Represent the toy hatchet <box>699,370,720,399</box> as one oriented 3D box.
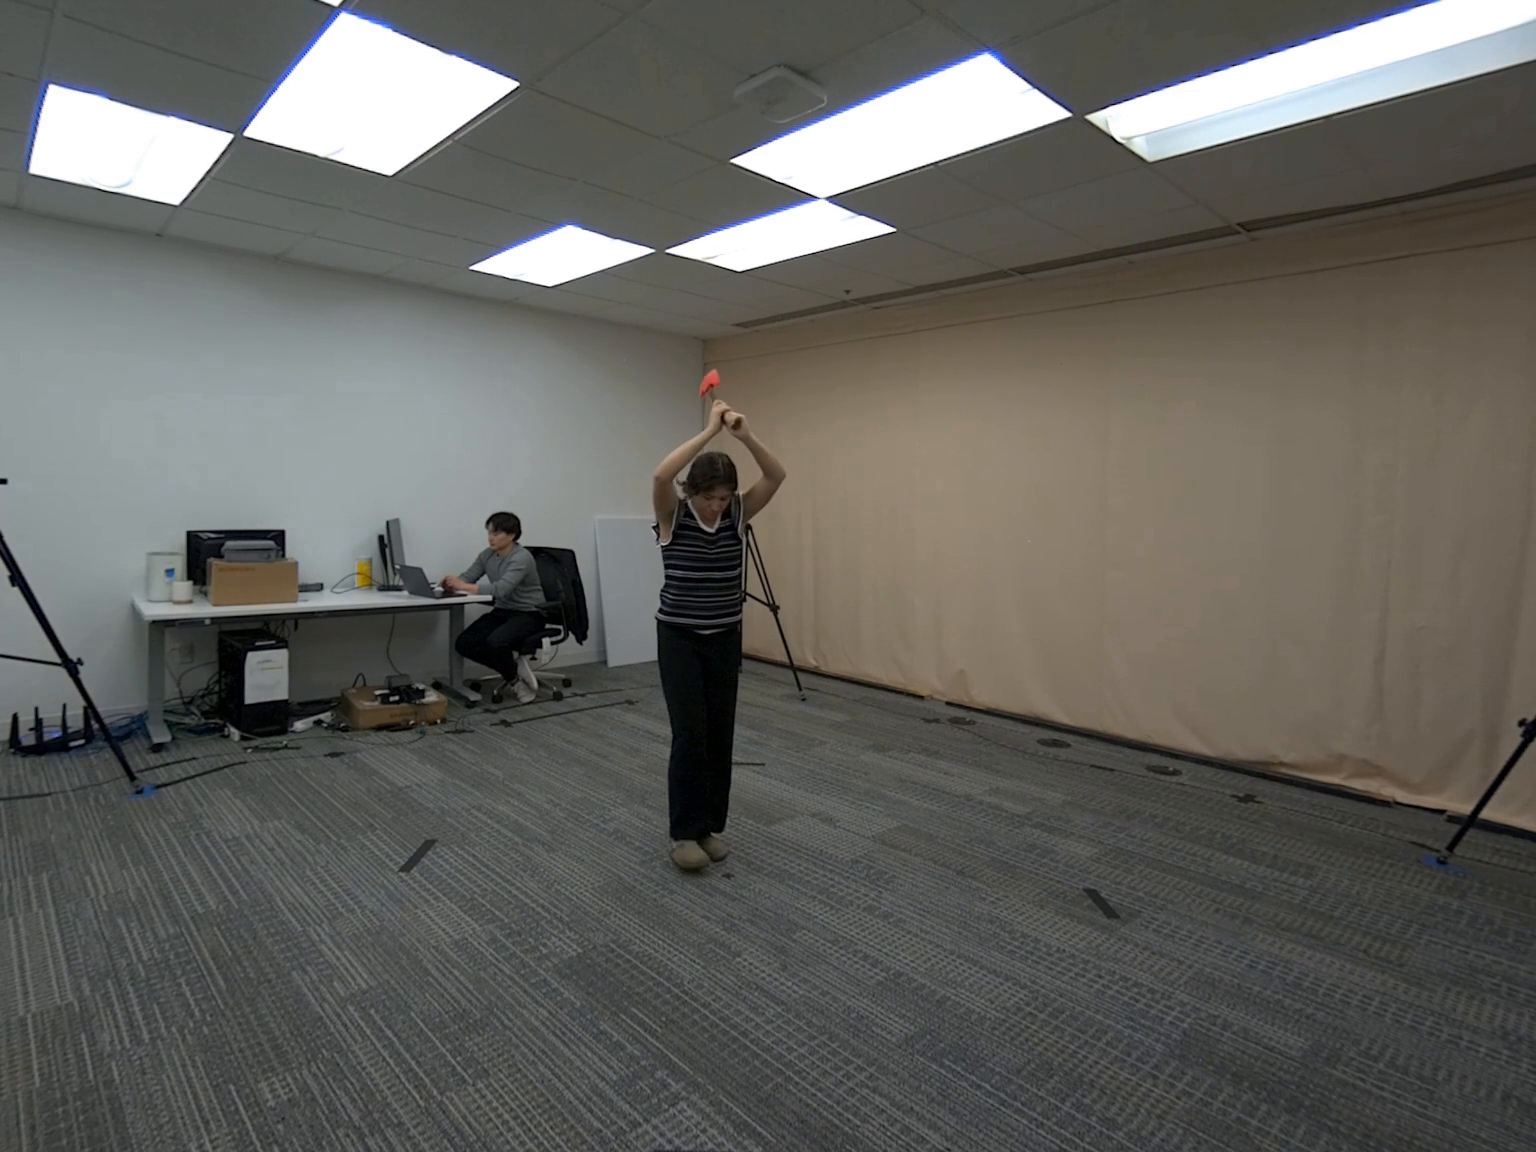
[{"bbox_3d":[-0.168,-0.639,2.986,0.029,0.130,0.279,-3,36,-38],"label":"toy hatchet"}]
